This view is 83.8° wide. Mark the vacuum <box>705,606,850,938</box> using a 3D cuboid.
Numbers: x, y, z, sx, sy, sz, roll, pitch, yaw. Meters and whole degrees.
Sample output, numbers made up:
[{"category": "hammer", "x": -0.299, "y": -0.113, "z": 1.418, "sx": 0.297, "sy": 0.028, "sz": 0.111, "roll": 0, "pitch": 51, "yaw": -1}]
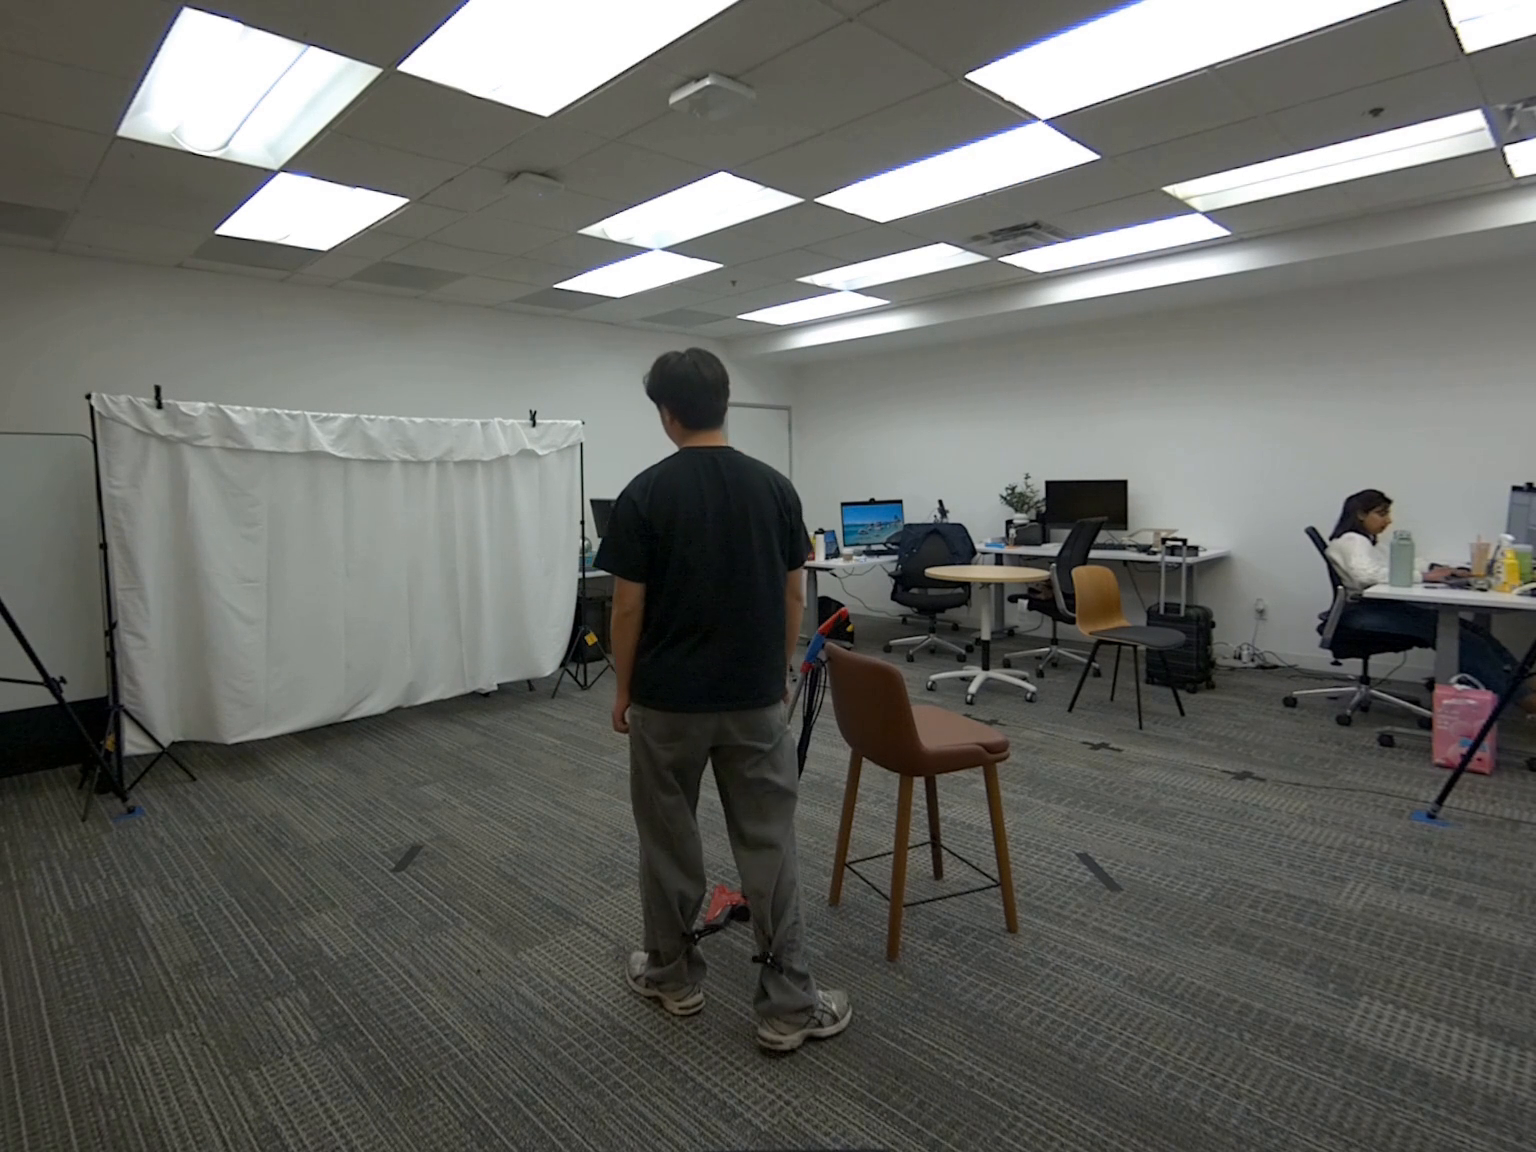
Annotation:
[{"category": "vacuum", "x": 0.068, "y": 0.595, "z": 2.710, "sx": 0.144, "sy": 1.045, "sz": 0.254, "roll": 19, "pitch": 6, "yaw": -3}]
